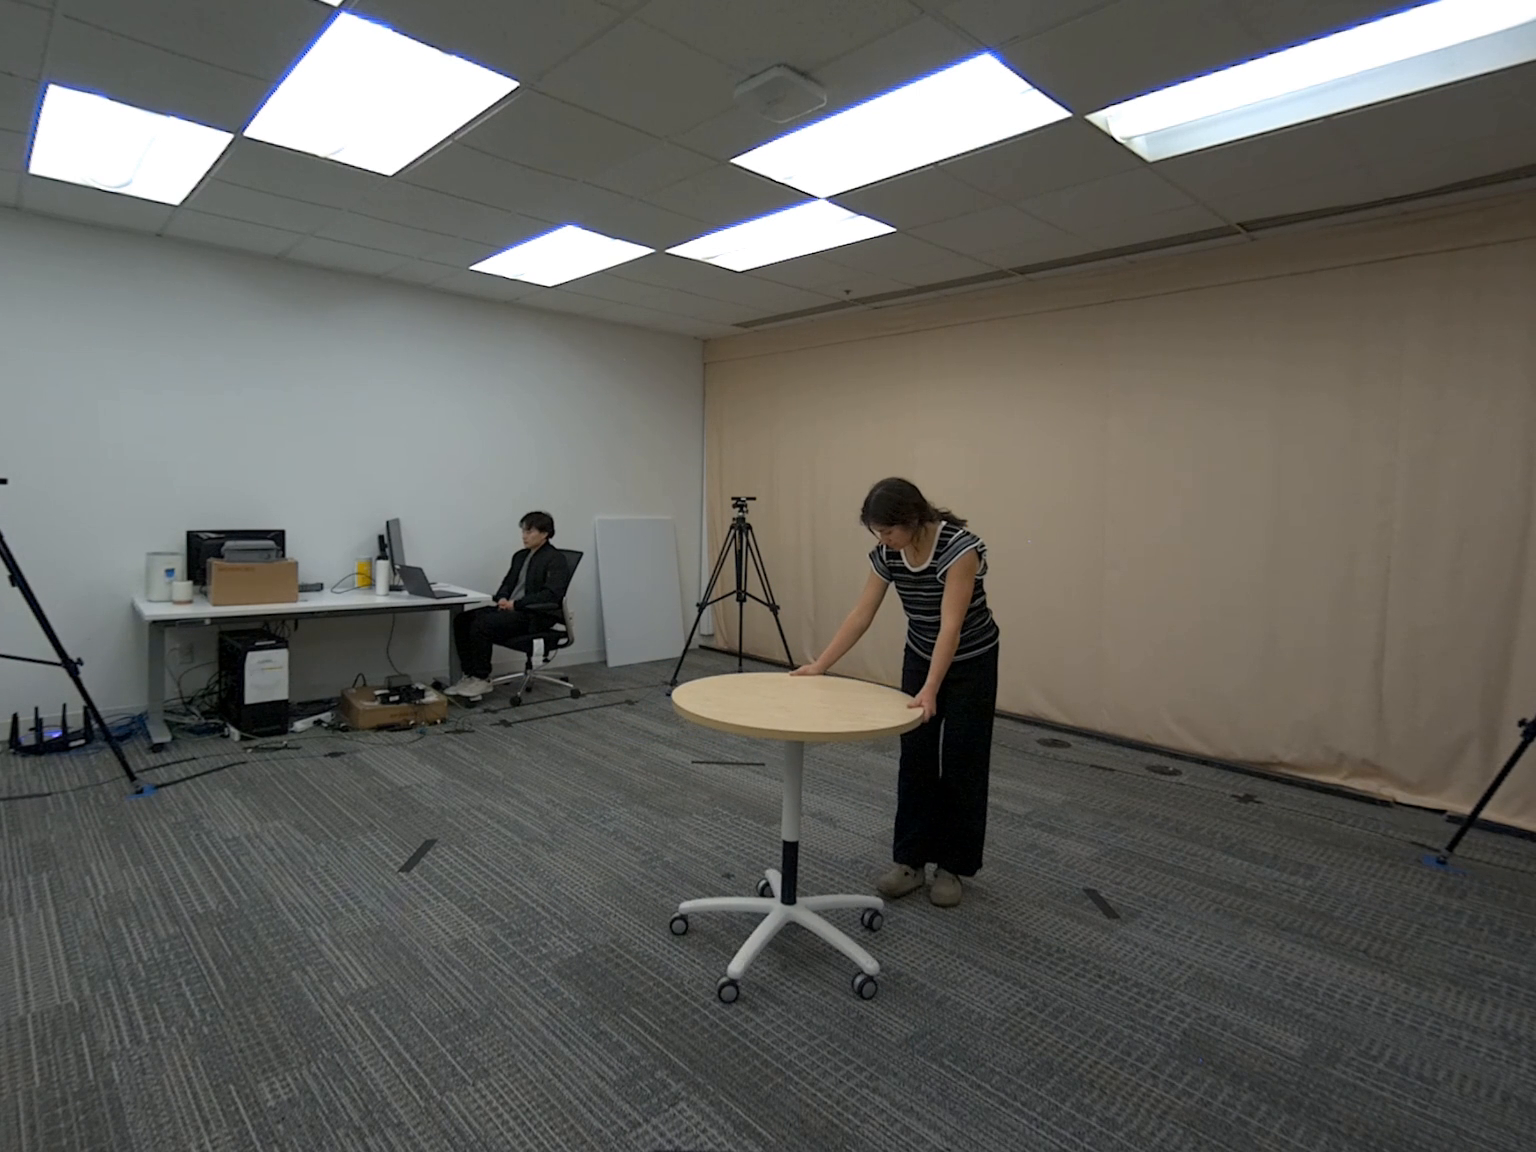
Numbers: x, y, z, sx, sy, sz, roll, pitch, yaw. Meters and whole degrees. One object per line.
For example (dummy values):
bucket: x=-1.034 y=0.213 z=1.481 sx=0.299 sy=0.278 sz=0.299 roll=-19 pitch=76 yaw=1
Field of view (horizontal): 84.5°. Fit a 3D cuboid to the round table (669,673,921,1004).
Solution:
round table: x=0.055 y=0.770 z=2.603 sx=0.763 sy=0.792 sz=0.766 roll=2 pitch=4 yaw=-2
